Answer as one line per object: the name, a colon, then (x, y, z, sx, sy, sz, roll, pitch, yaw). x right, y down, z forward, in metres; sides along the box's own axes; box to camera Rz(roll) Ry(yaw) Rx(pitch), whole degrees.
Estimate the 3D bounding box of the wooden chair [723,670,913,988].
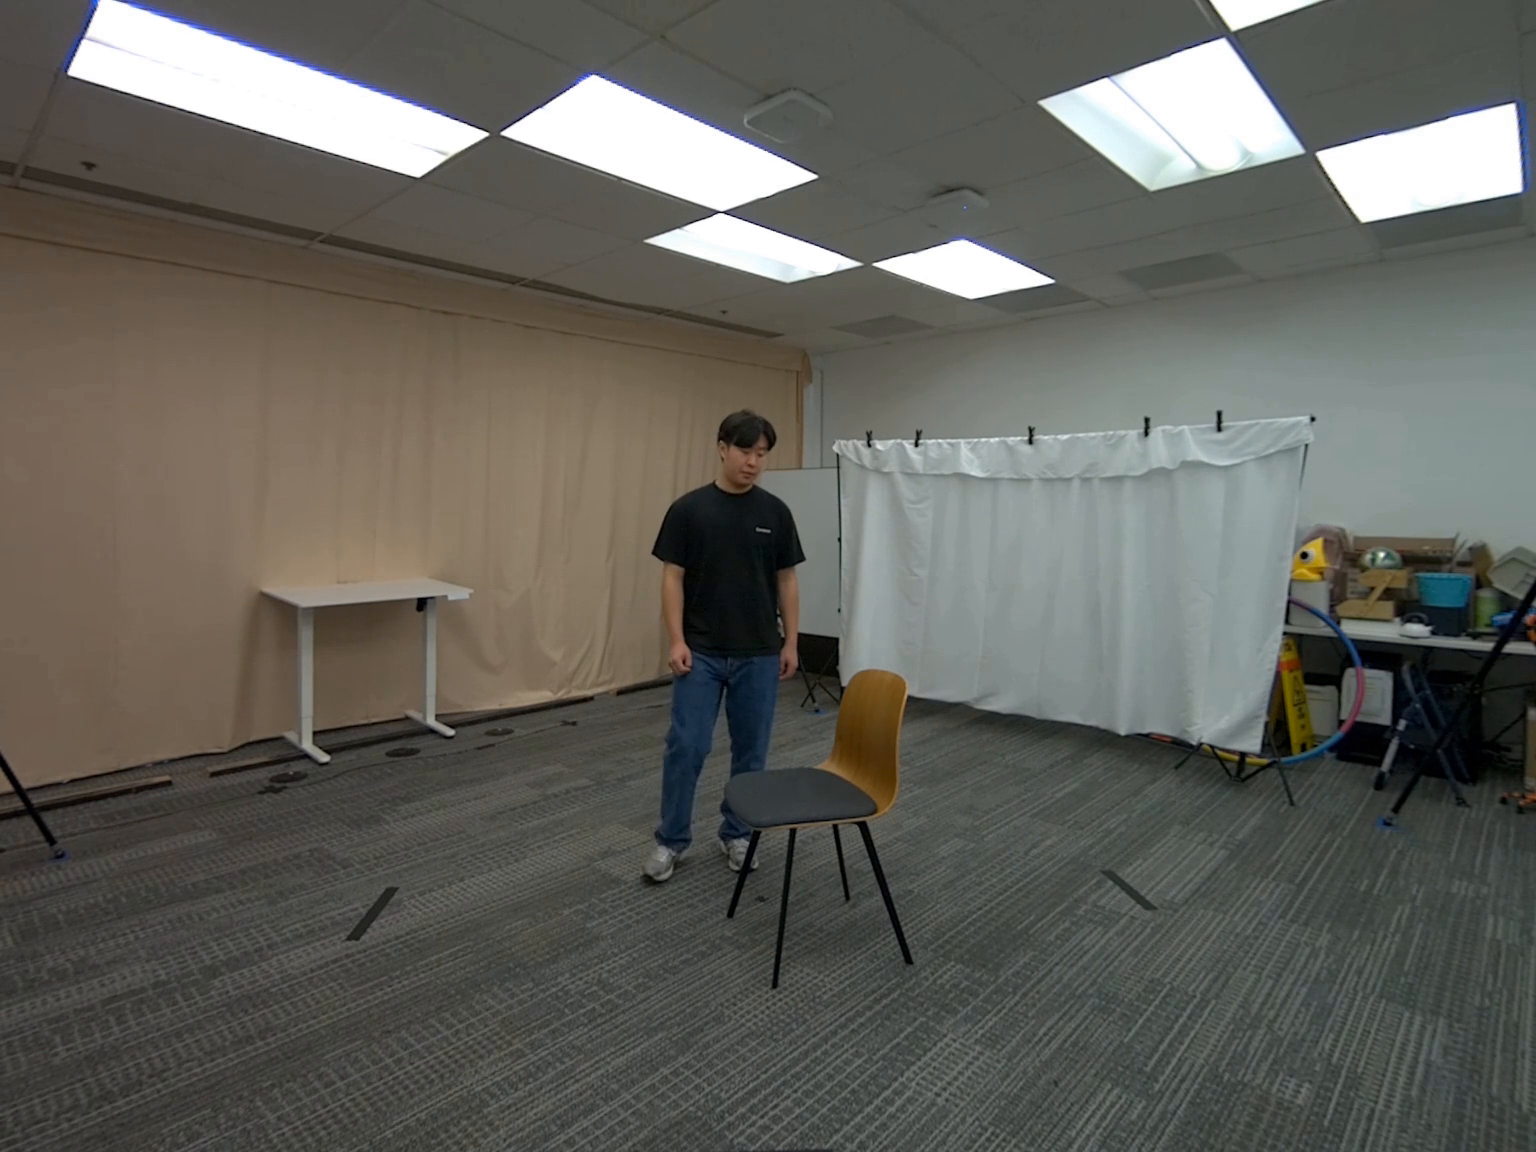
wooden chair: (0.150, 0.741, 2.674, 0.513, 0.876, 0.488, 3, 2, -19)
